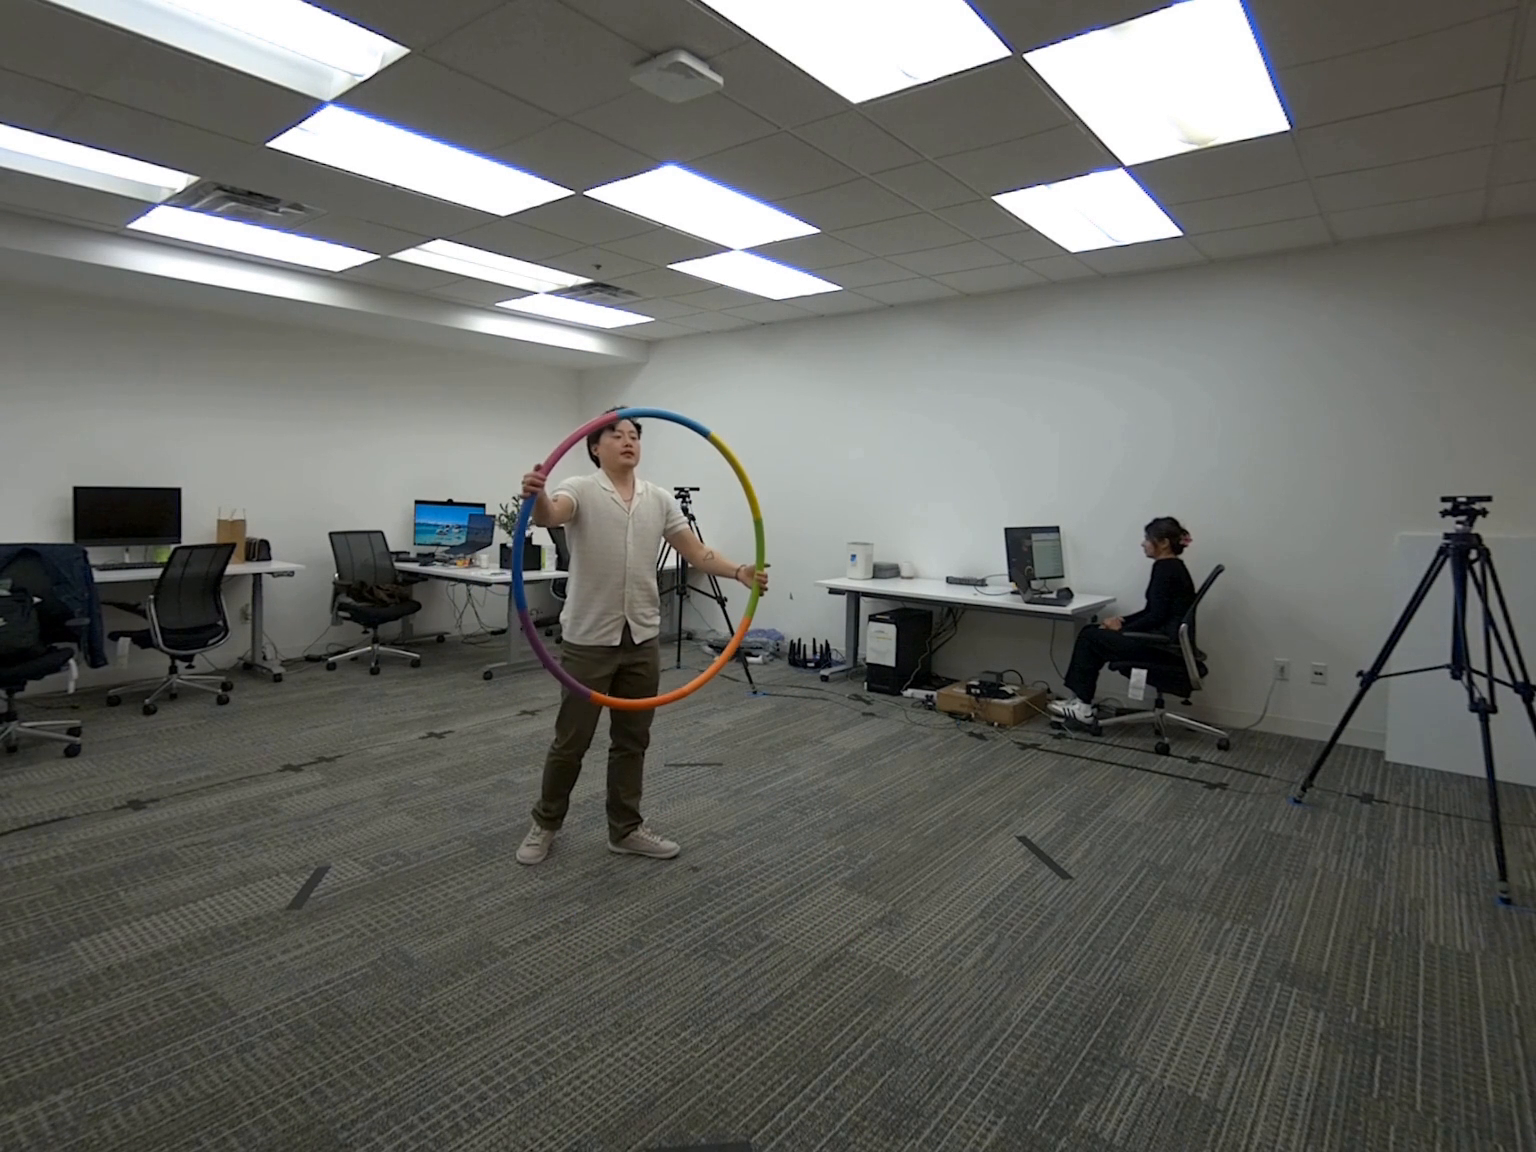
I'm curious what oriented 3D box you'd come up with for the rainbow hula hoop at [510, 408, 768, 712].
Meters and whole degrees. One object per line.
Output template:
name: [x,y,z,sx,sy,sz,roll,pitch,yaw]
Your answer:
rainbow hula hoop: [-0.409,-0.063,2.817,0.950,0.978,0.036,-2,1,-36]
